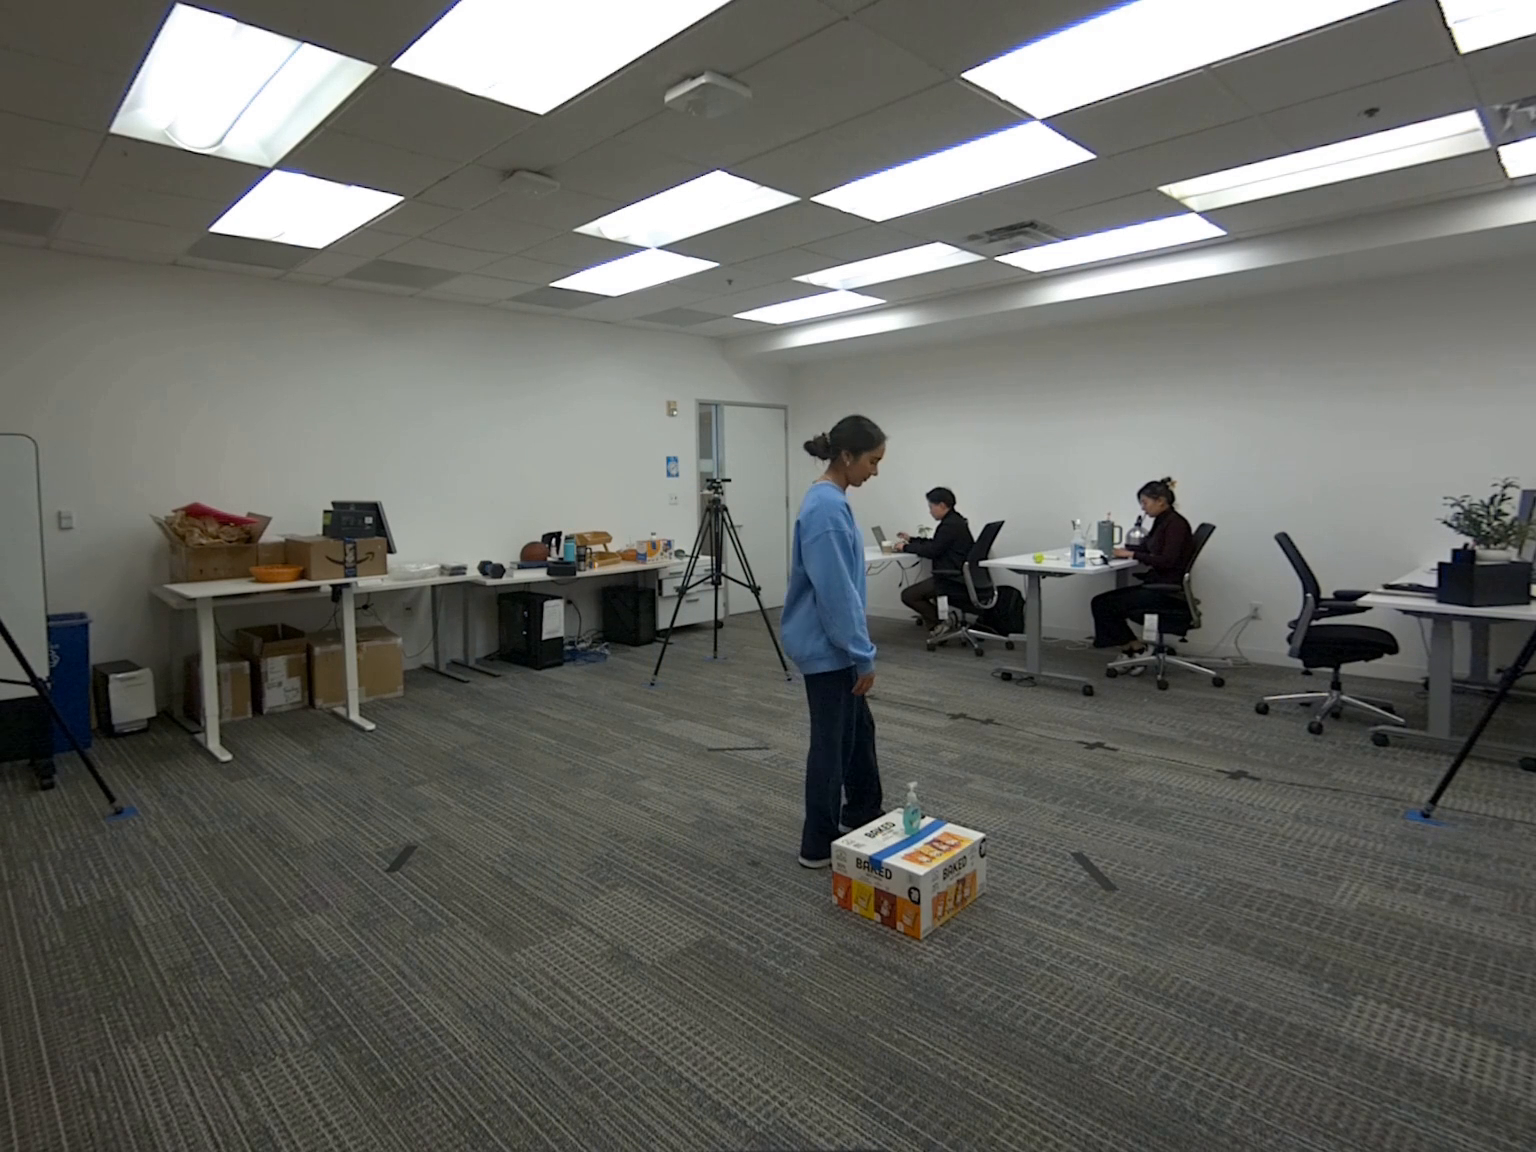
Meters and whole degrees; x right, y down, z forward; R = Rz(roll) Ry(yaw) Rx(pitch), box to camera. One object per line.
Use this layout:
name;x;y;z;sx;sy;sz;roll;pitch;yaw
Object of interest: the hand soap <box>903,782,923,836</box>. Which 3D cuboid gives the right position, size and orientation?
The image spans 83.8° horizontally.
hand soap;0.489;0.782;2.876;0.045;0.167;0.082;2;9;41
